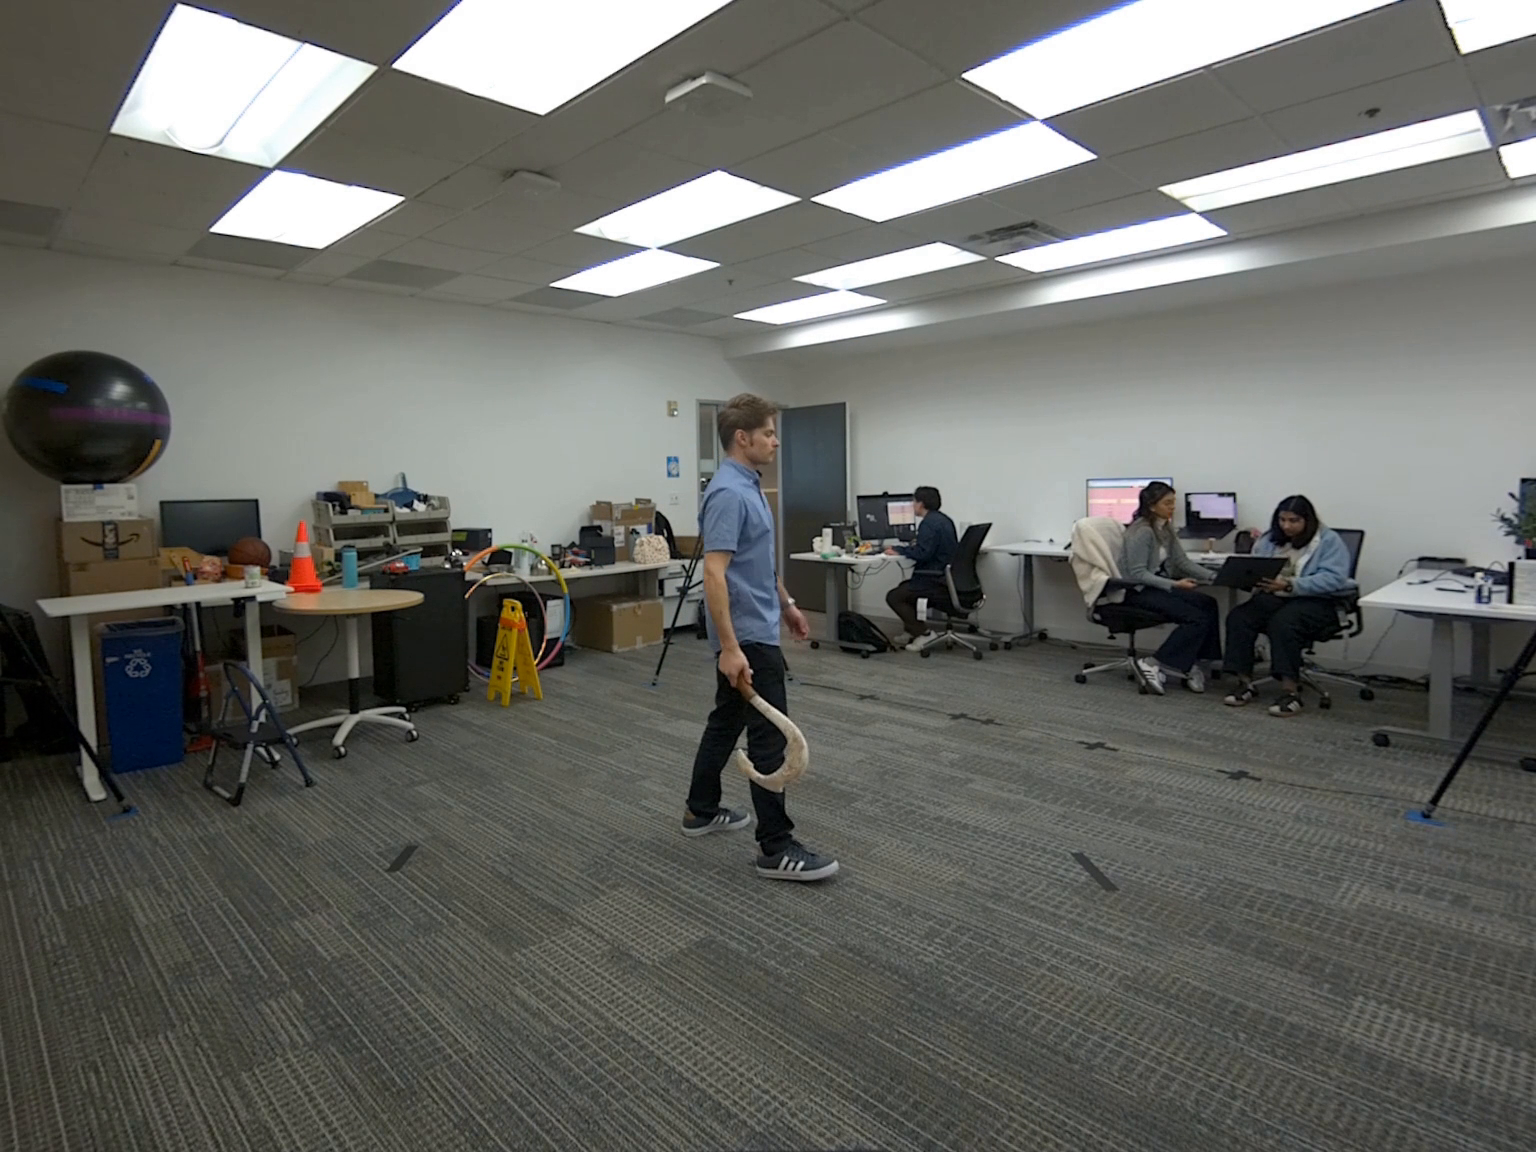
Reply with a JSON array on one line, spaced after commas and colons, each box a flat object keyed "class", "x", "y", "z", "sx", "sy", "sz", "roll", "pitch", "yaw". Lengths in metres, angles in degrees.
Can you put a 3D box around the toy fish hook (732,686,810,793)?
[{"class": "toy fish hook", "x": -0.037, "y": 0.463, "z": 2.797, "sx": 0.224, "sy": 0.526, "sz": 0.046, "roll": -37, "pitch": -36, "yaw": -1}]
